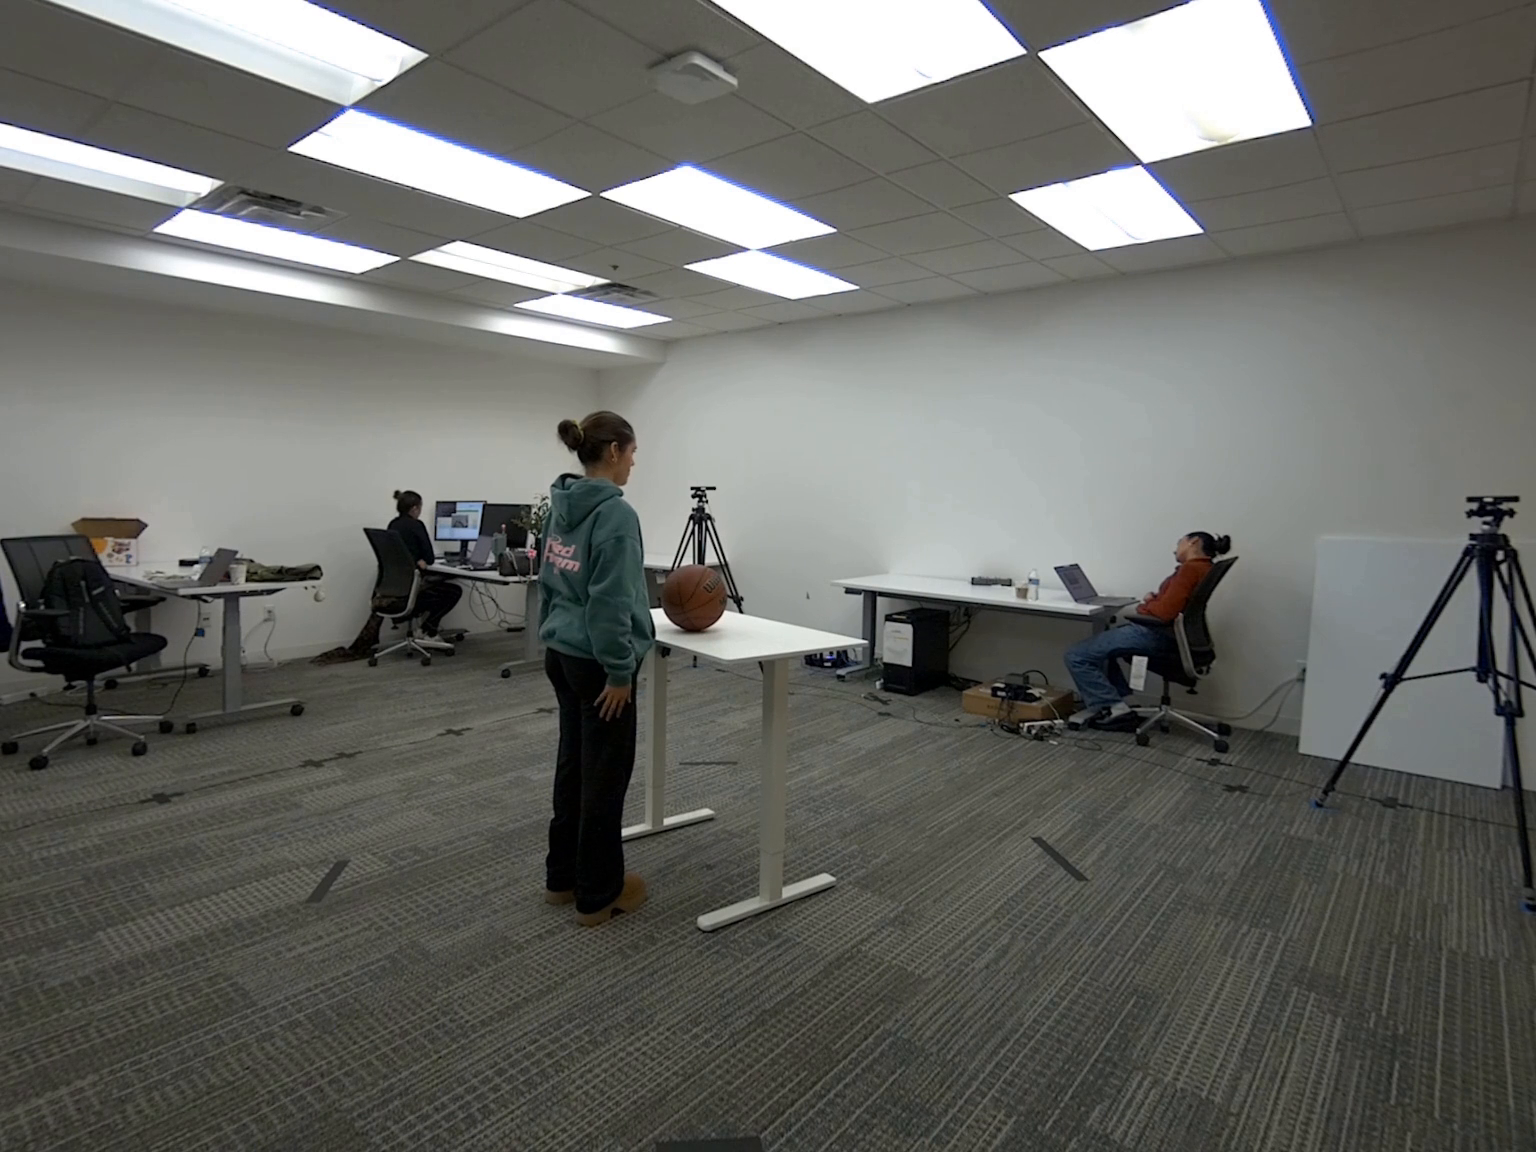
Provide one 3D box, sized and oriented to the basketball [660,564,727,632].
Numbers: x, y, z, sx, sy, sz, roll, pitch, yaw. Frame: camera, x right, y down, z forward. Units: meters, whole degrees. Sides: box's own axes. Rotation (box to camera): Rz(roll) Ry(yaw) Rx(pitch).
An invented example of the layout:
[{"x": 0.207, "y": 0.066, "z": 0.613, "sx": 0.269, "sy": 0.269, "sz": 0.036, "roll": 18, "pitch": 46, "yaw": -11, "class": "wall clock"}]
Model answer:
[{"x": -0.271, "y": 0.074, "z": 3.018, "sx": 0.235, "sy": 0.235, "sz": 0.237, "roll": 1, "pitch": 4, "yaw": -2, "class": "basketball"}]
